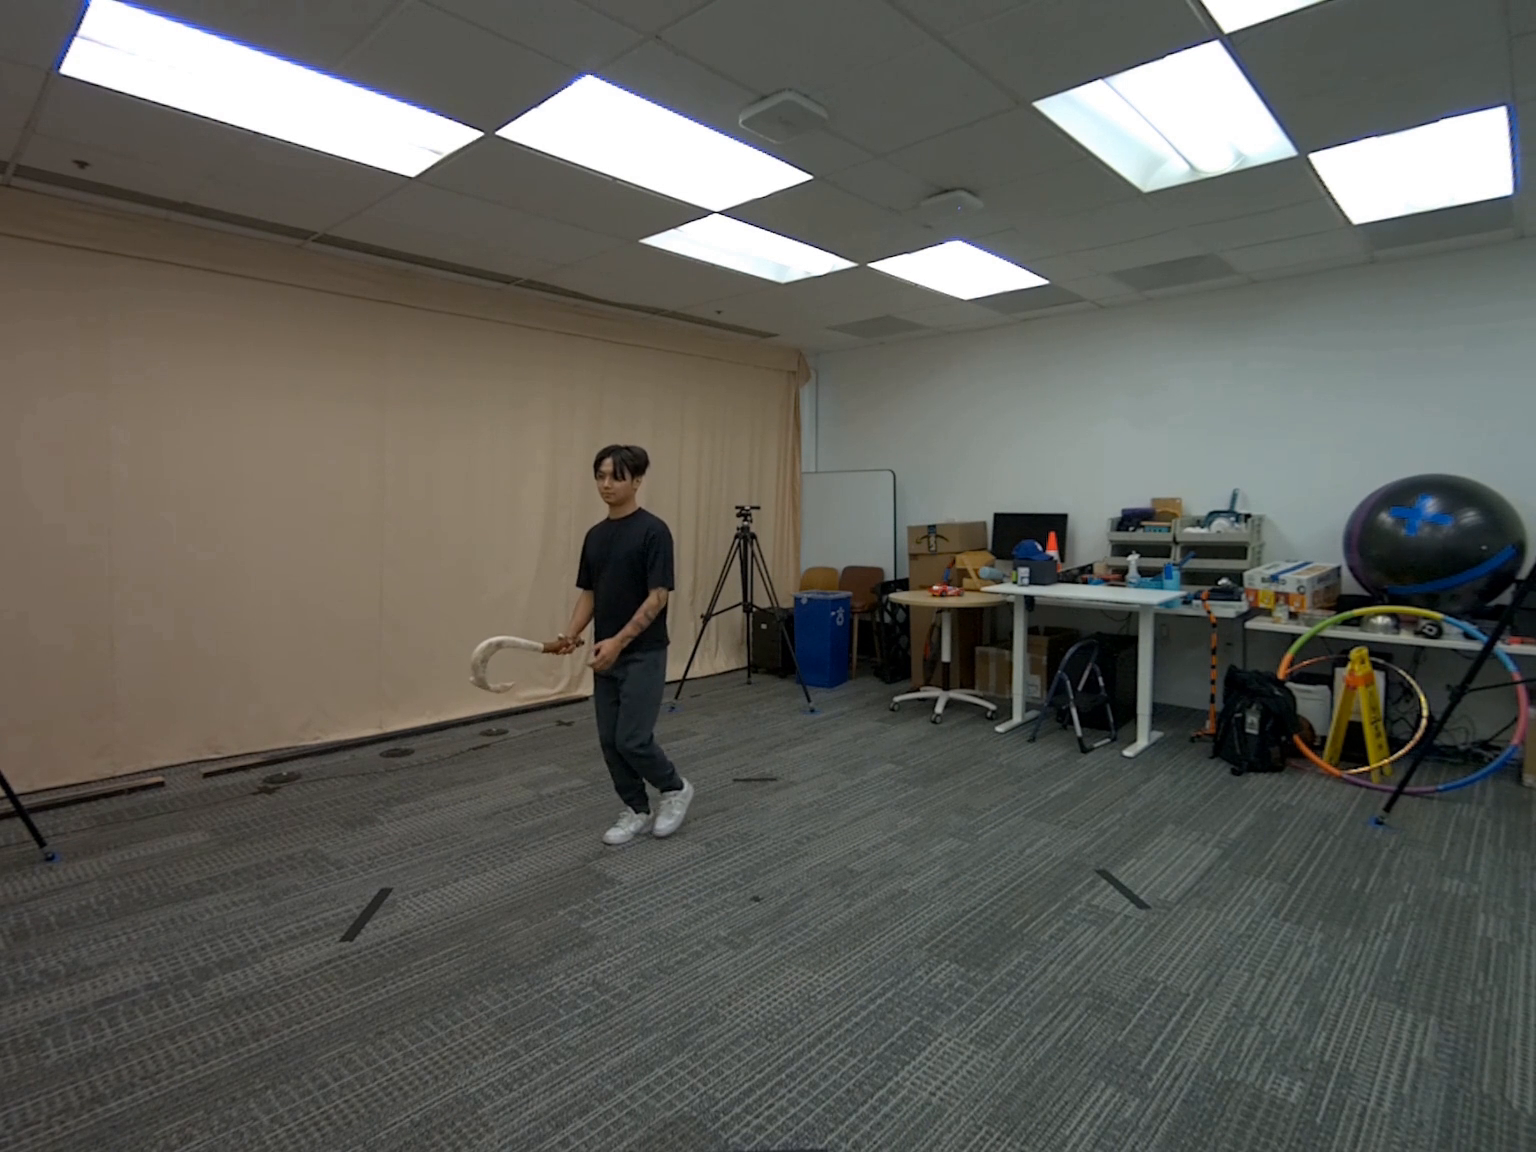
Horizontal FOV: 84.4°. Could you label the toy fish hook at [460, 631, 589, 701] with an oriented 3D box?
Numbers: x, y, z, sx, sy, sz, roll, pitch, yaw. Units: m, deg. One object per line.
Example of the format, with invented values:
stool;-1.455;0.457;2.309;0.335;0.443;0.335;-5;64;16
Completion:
toy fish hook;-0.947;0.341;3.325;0.050;0.223;0.490;21;15;42
